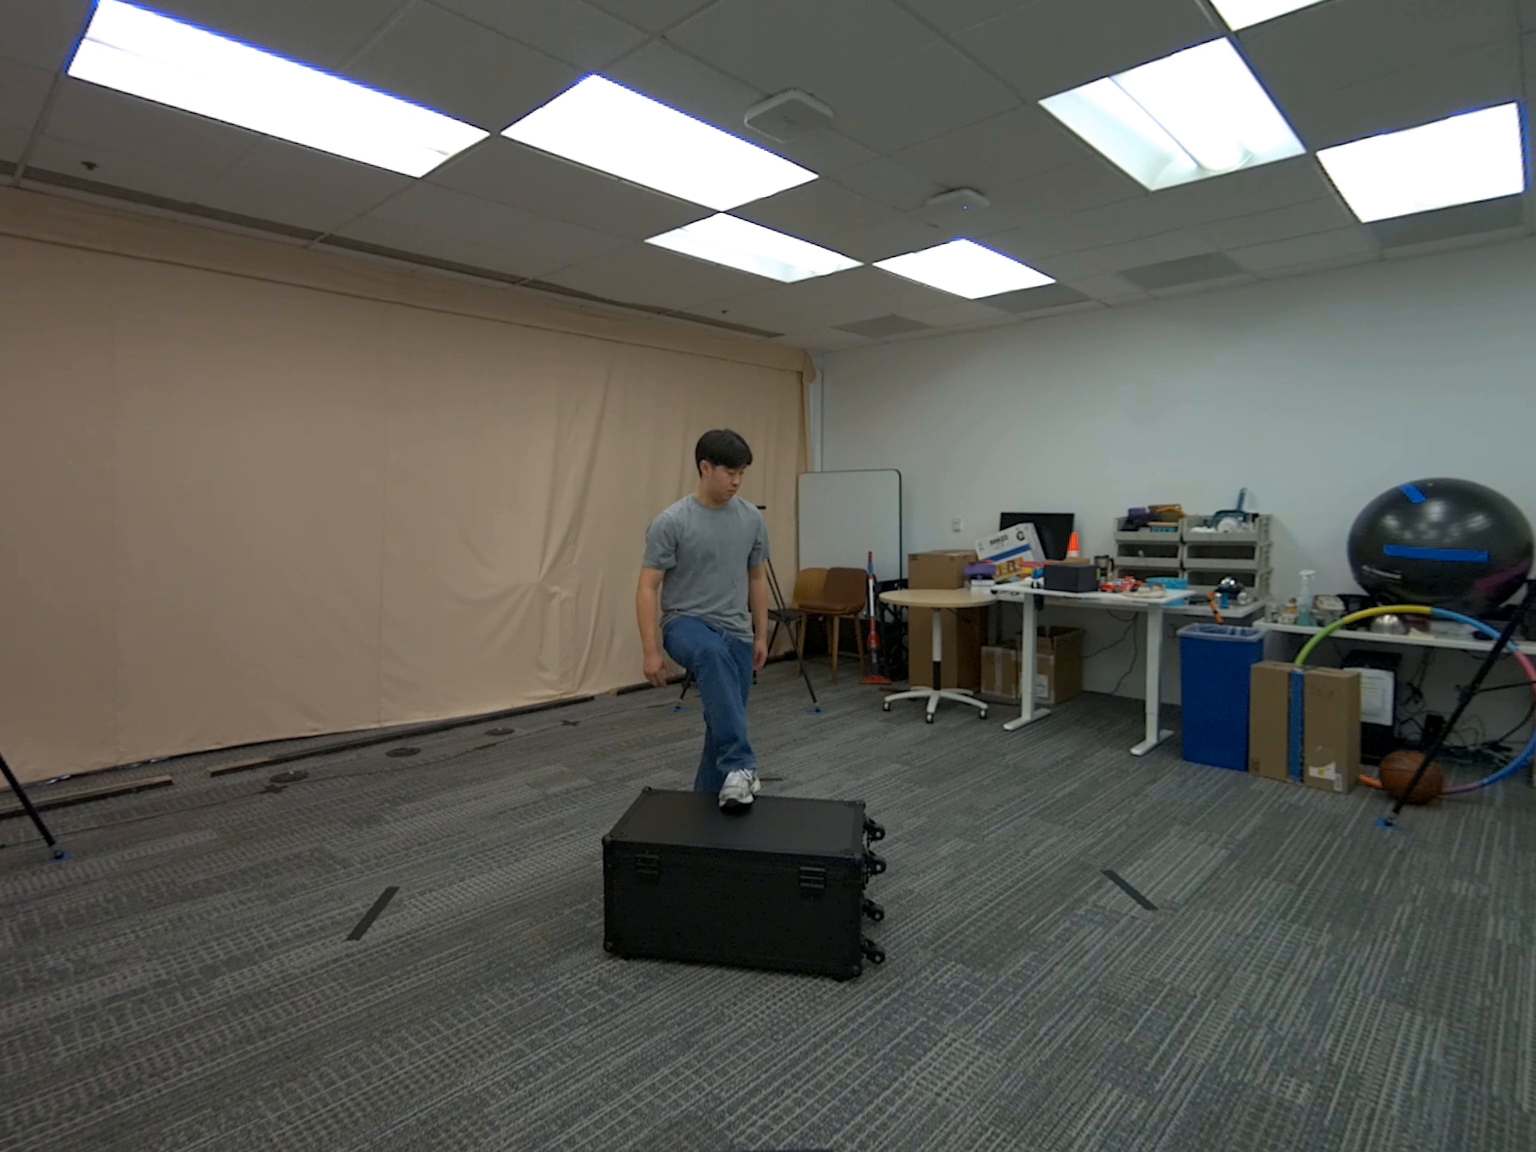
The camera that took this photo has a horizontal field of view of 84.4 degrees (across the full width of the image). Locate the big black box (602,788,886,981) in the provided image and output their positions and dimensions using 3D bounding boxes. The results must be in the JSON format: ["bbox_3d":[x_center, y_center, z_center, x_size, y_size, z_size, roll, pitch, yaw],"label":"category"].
[{"bbox_3d":[-0.051,0.973,2.732,0.871,0.395,0.516,0,3,10],"label":"big black box"}]
